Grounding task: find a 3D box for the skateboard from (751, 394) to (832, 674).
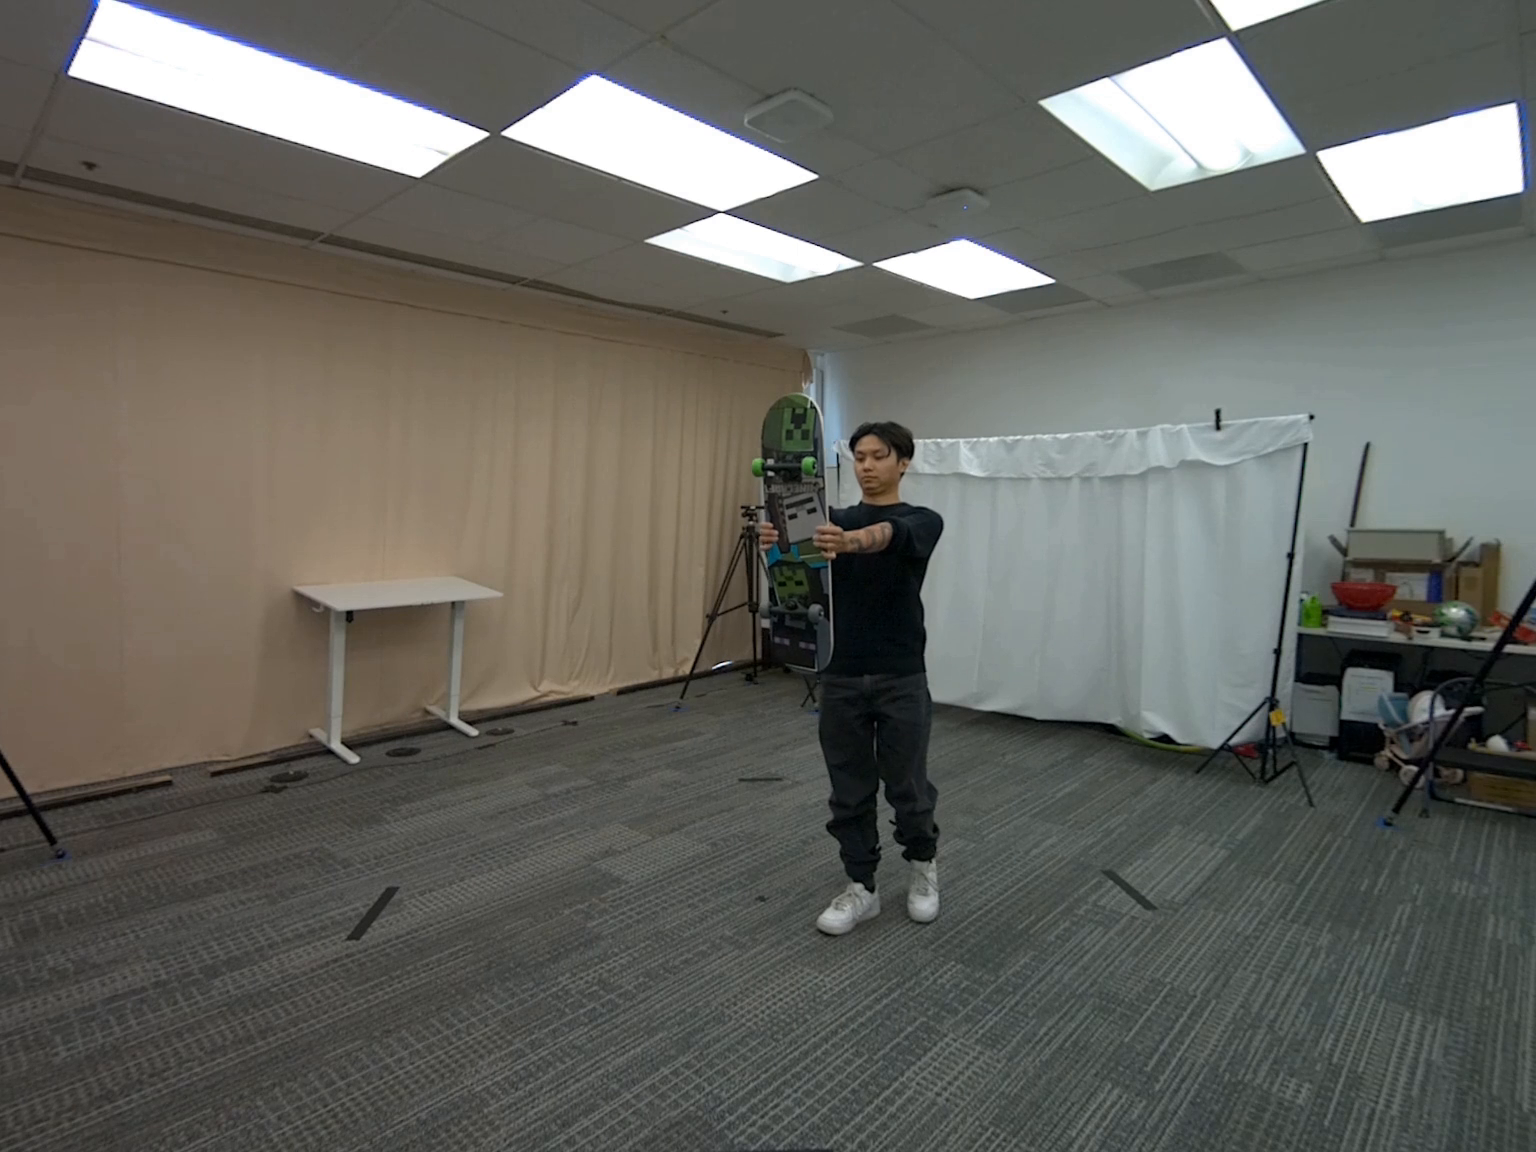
[{"bbox_3d":[0.075,-0.101,2.318,0.199,0.781,0.107,0,8,32],"label":"skateboard"}]
